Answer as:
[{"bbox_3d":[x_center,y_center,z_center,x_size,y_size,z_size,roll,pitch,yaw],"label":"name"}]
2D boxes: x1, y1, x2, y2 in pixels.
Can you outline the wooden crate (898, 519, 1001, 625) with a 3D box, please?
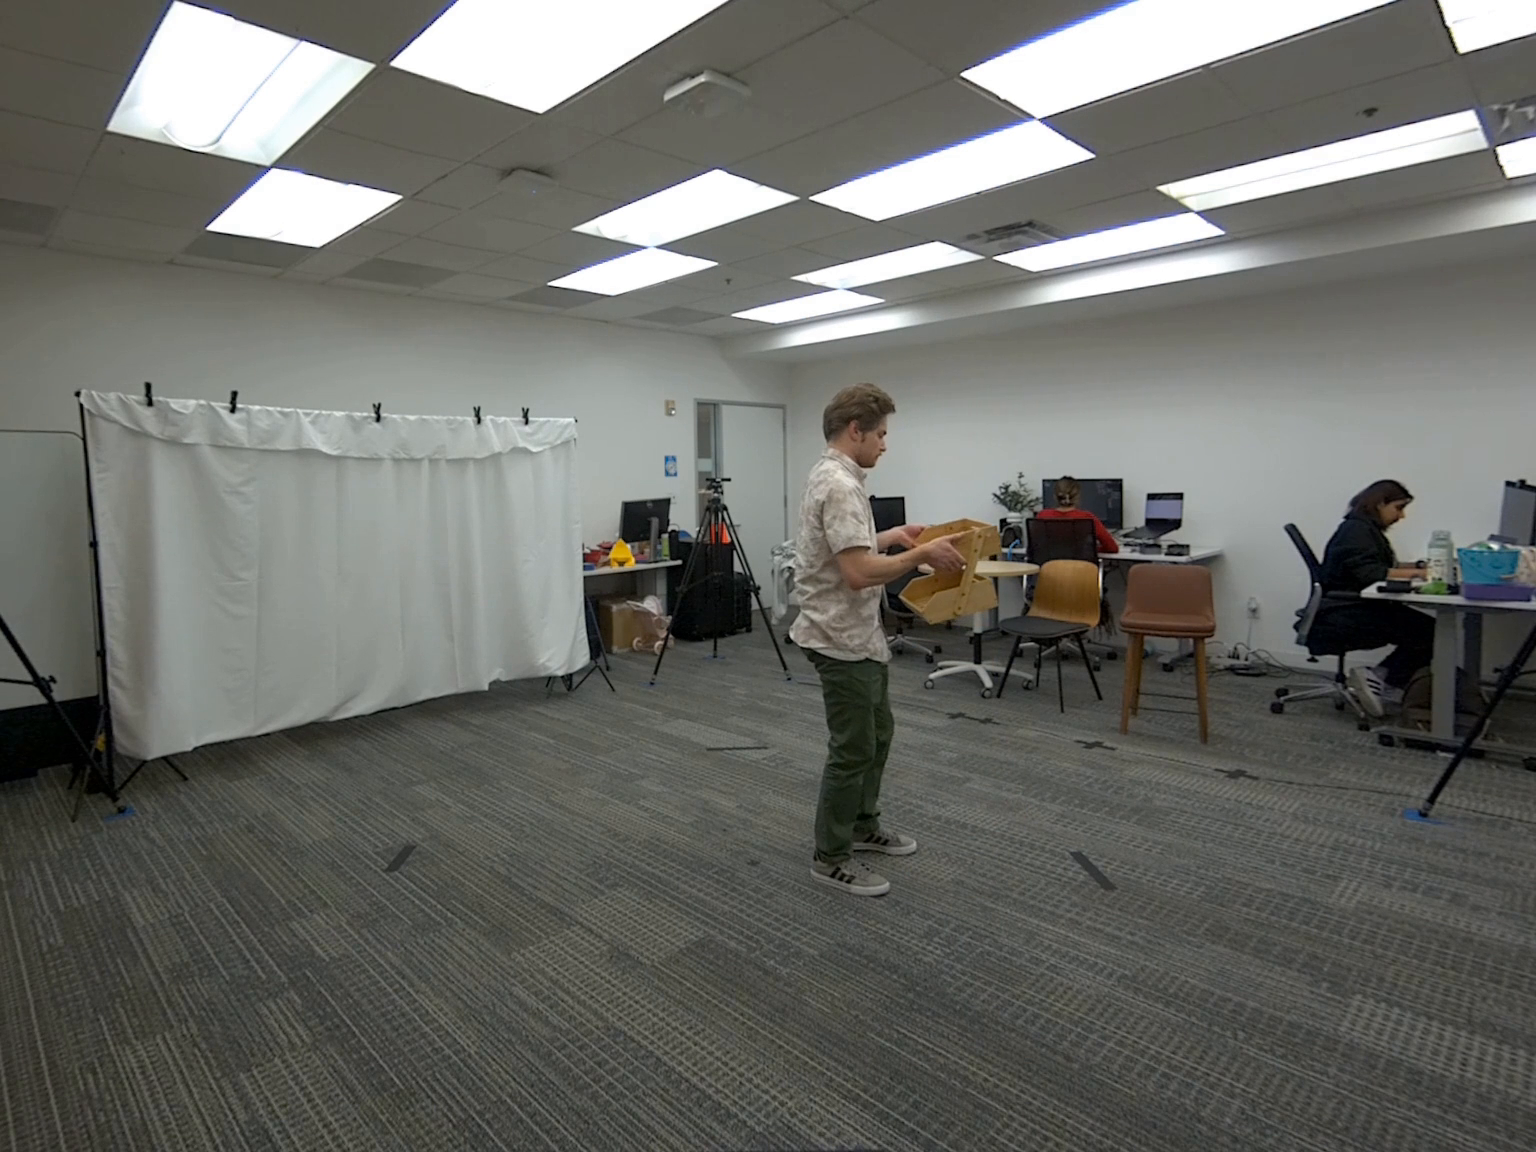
[{"bbox_3d":[0.596,-0.027,2.891,0.302,0.271,0.327,-15,8,-1],"label":"wooden crate"}]
